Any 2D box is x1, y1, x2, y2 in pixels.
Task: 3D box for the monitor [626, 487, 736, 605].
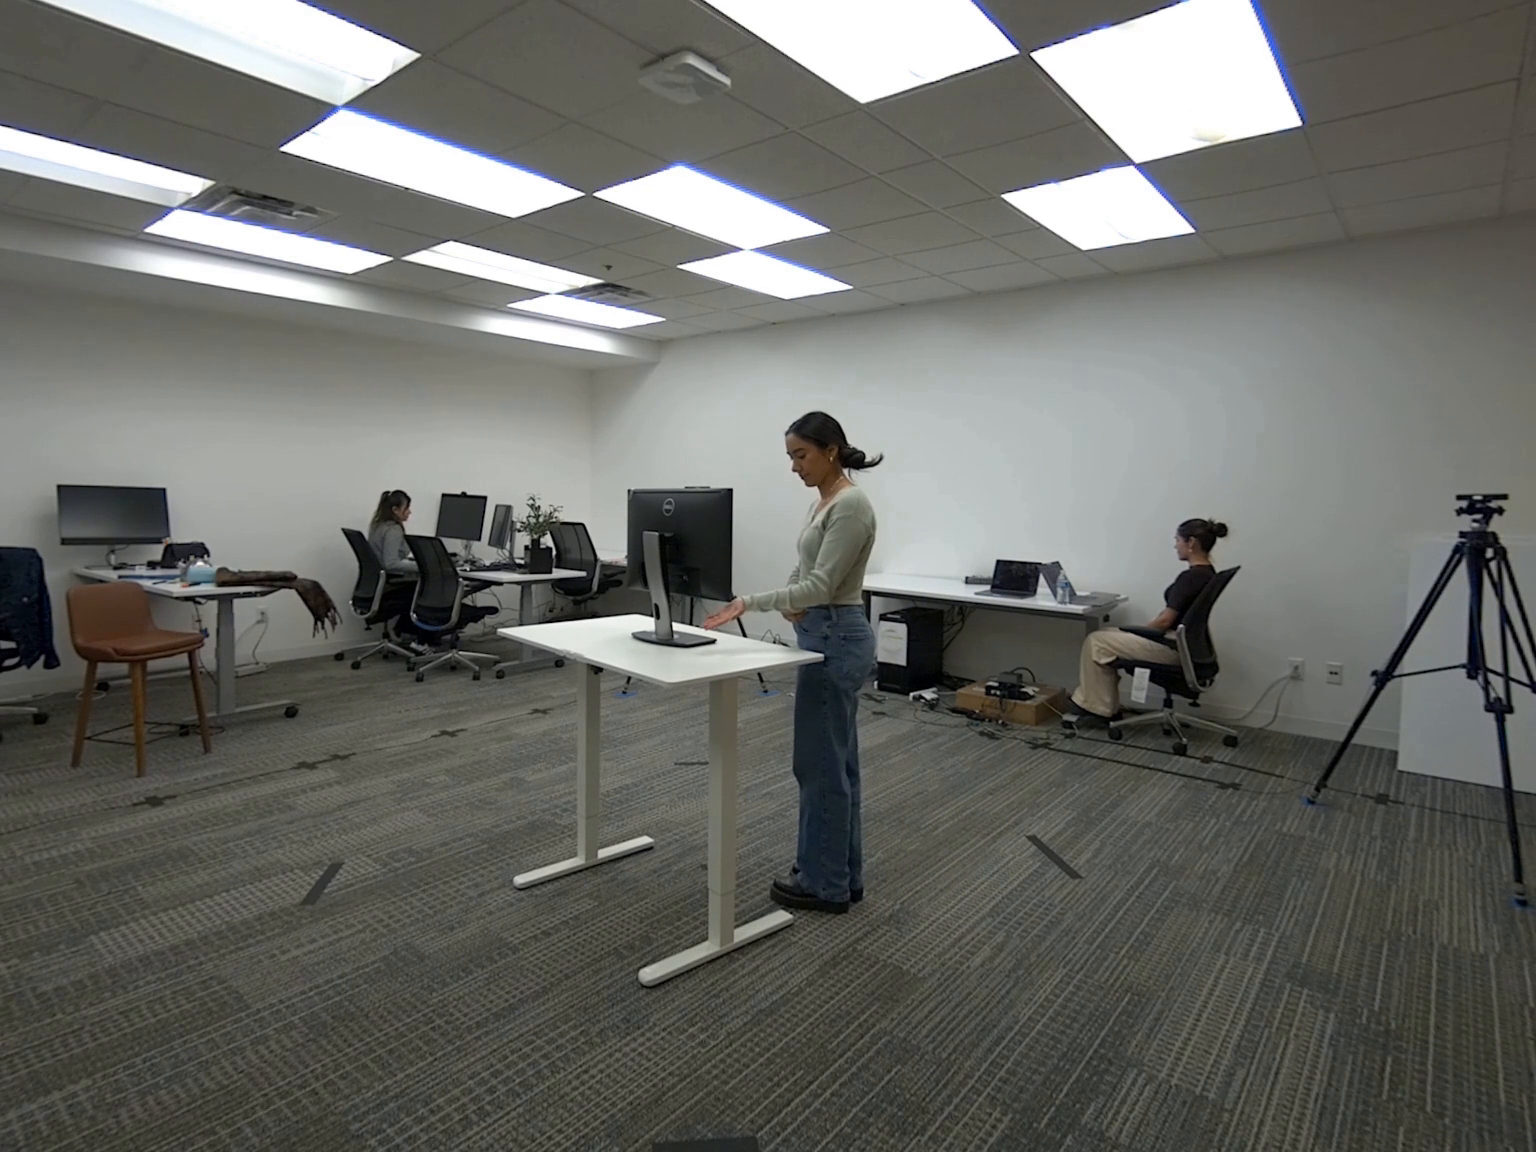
[{"bbox_3d":[-0.332,-0.031,2.799,0.557,0.523,0.181,4,-1,44],"label":"monitor"}]
